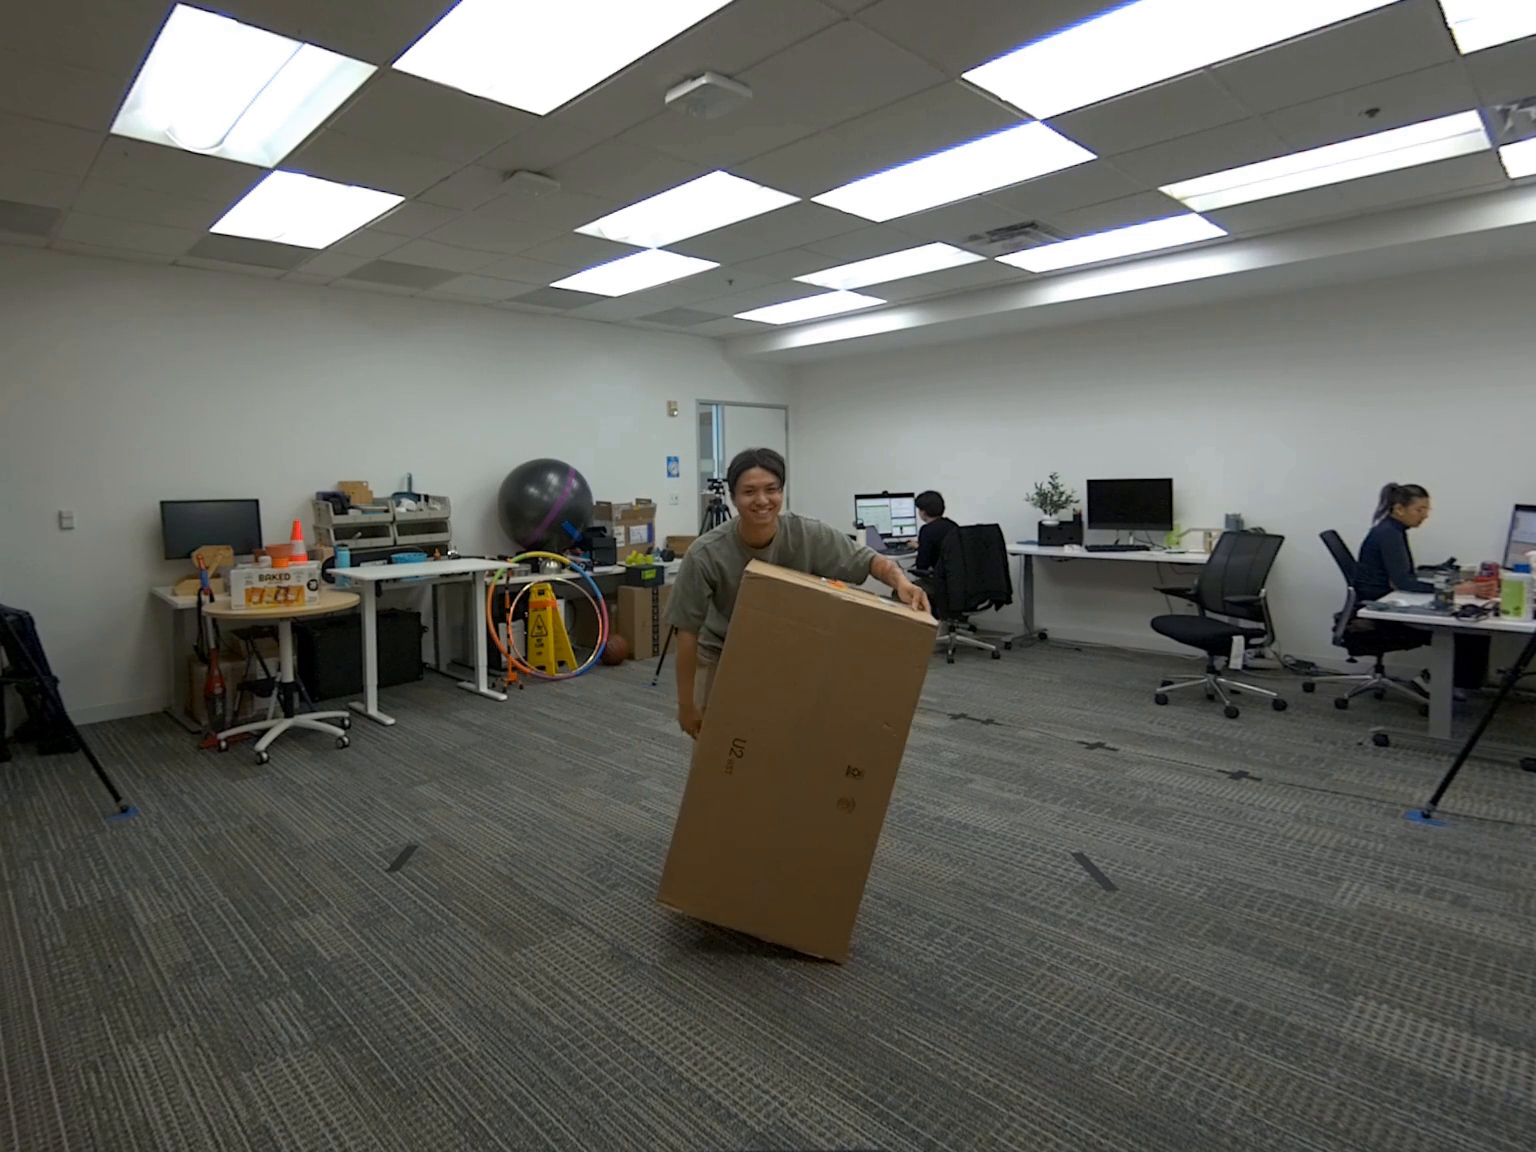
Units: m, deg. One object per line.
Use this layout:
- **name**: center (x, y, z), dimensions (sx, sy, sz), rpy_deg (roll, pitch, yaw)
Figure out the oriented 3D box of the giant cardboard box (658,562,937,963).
- **giant cardboard box**: center (0.087, 0.534, 2.634), dimensions (0.580, 1.023, 0.425), rpy_deg (15, 4, 3)
